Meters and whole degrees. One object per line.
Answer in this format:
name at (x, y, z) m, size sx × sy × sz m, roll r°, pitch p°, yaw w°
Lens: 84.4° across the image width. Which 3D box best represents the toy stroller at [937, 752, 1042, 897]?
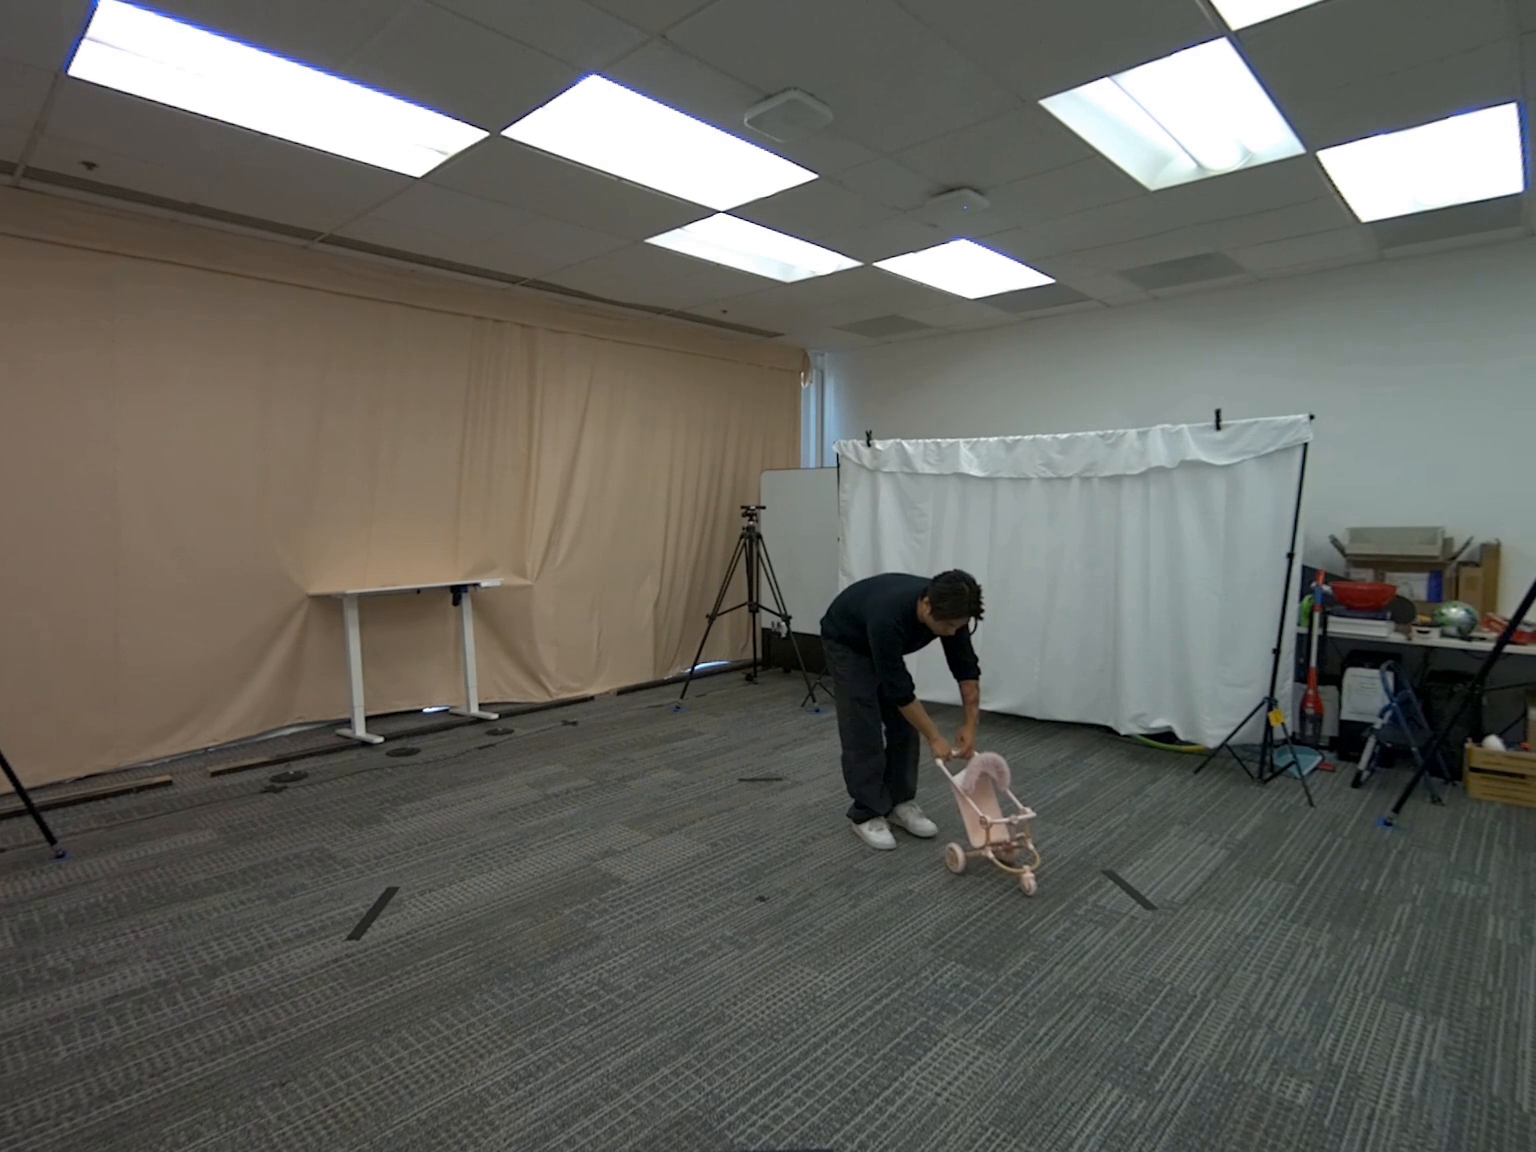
toy stroller at (0.849, 0.908, 3.178) m, size 0.276 × 0.541 × 0.344 m, roll -2°, pitch -15°, yaw -20°
